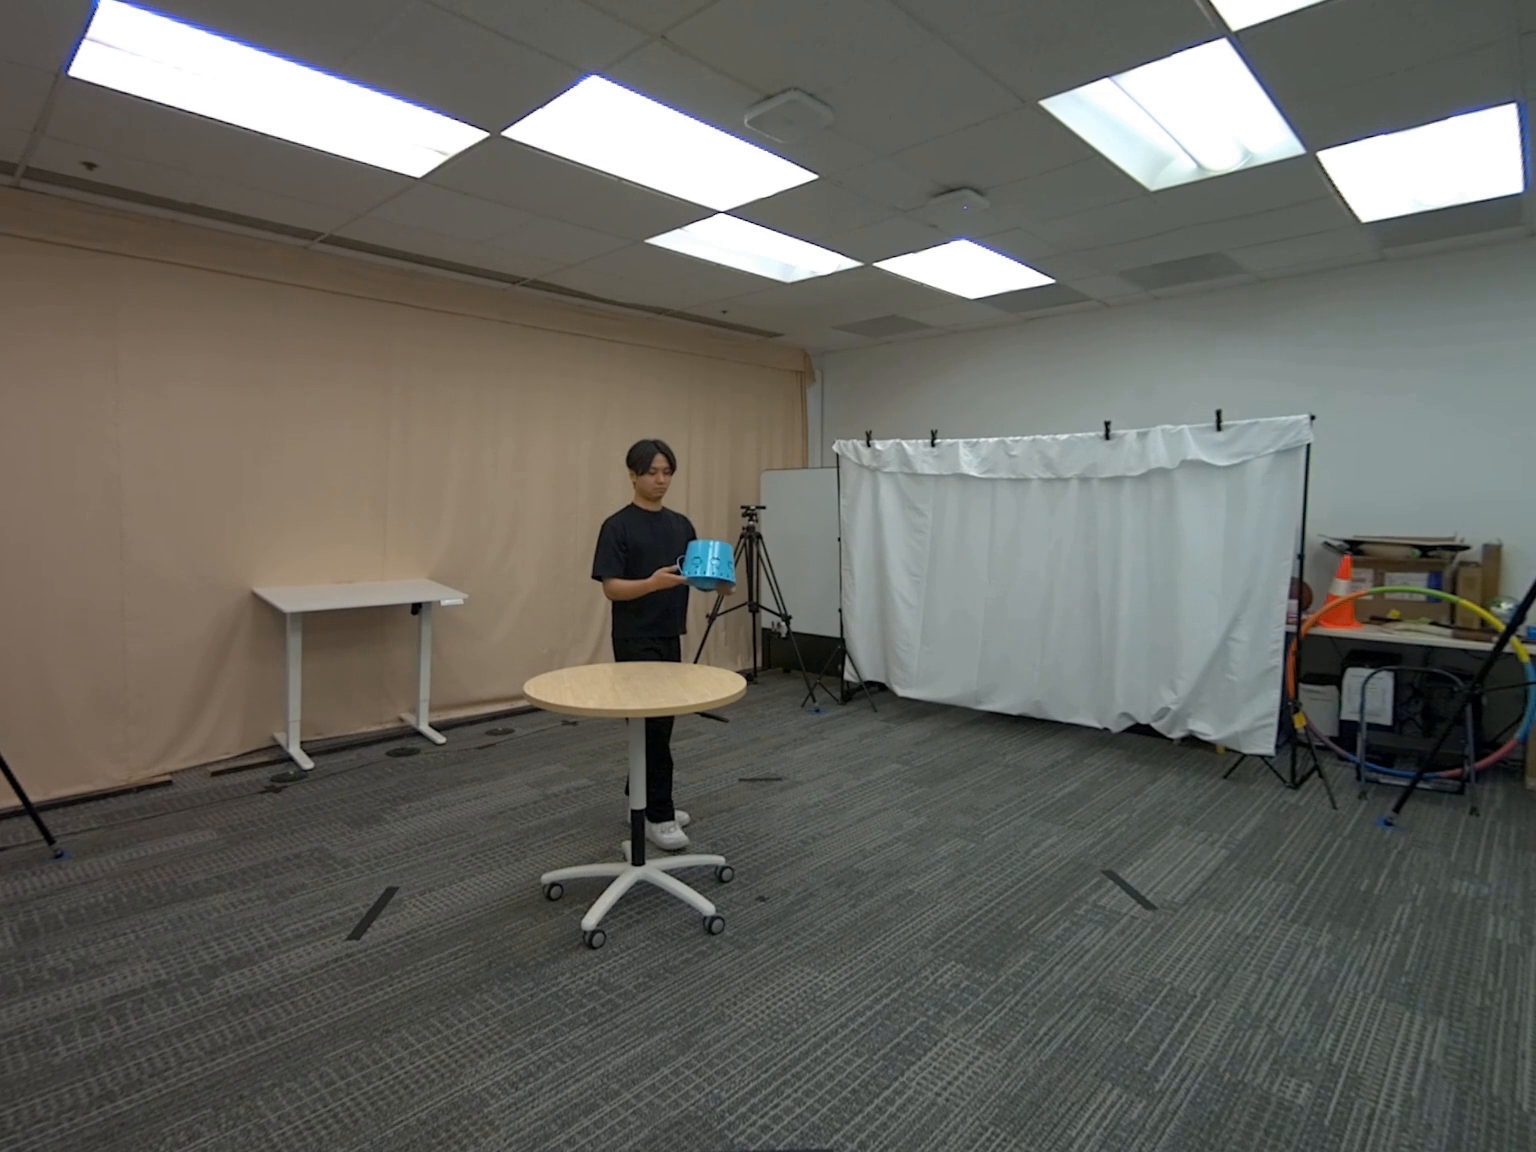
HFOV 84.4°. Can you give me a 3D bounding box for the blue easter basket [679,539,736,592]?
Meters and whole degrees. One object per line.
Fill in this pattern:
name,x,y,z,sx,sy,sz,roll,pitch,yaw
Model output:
blue easter basket,-0.243,-0.046,3.352,0.244,0.157,0.242,5,-14,-1
